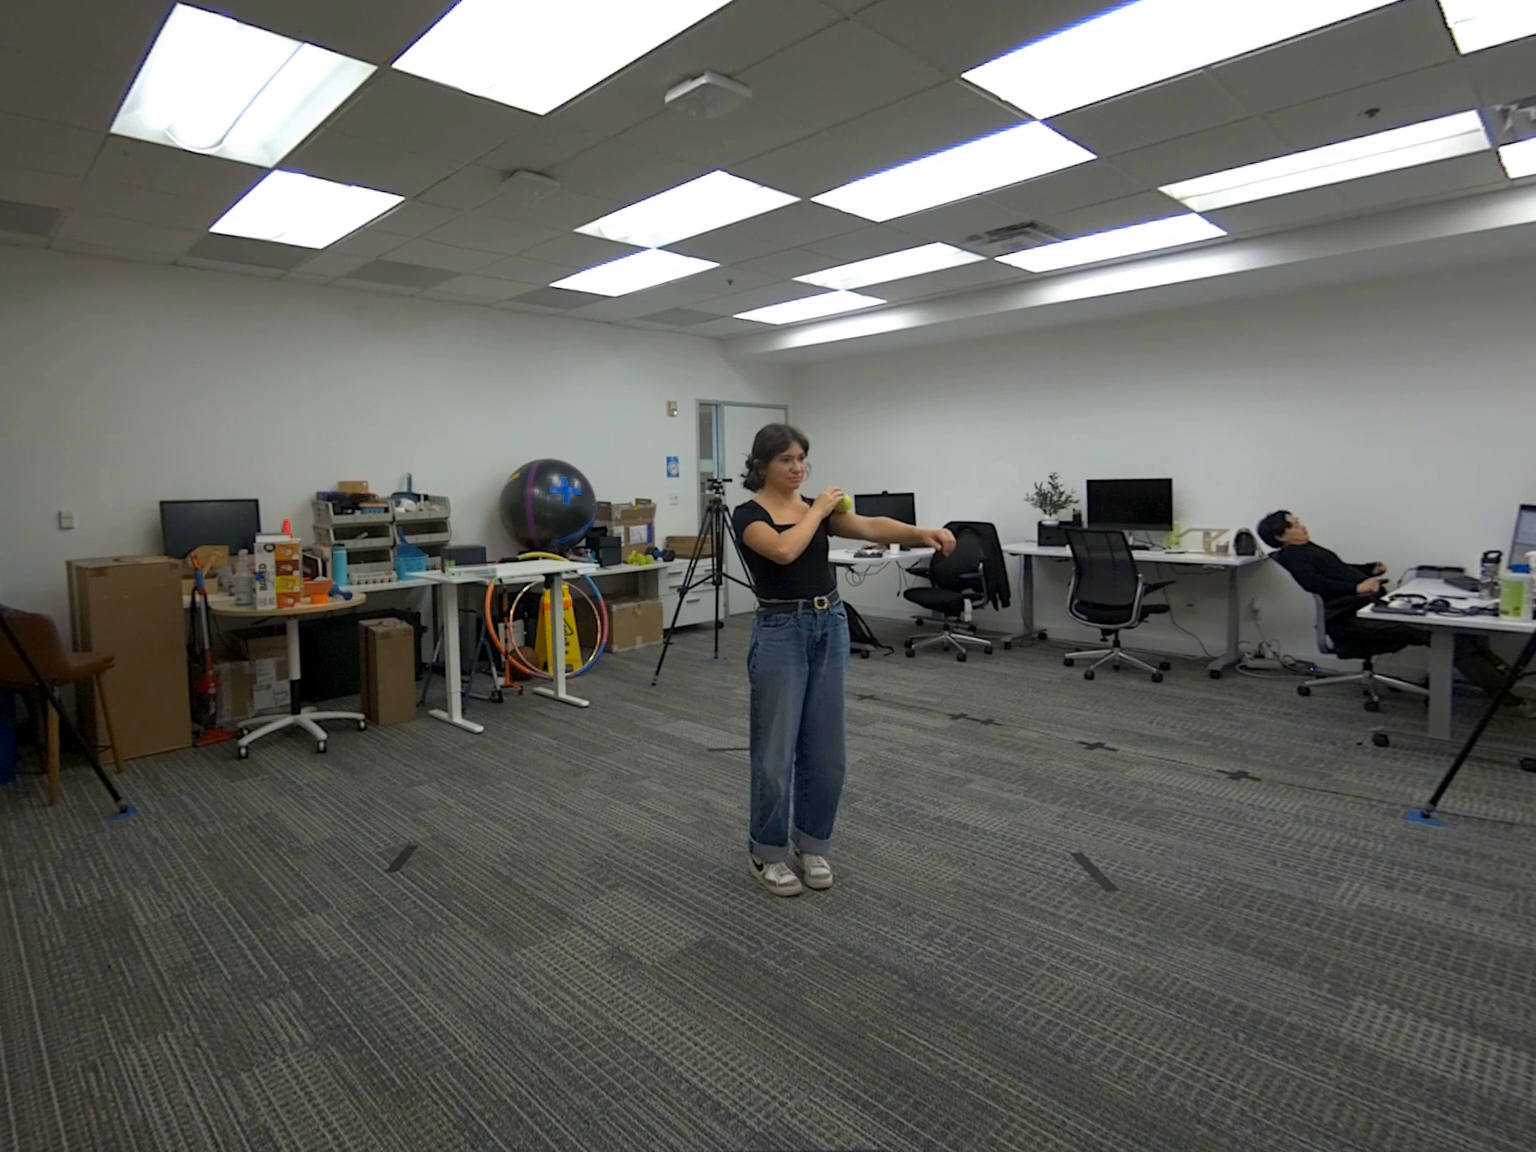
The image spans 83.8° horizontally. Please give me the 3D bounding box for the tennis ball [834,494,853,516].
[{"bbox_3d":[0.237,-0.246,2.922,0.066,0.066,0.067,-1,5,-2],"label":"tennis ball"}]
